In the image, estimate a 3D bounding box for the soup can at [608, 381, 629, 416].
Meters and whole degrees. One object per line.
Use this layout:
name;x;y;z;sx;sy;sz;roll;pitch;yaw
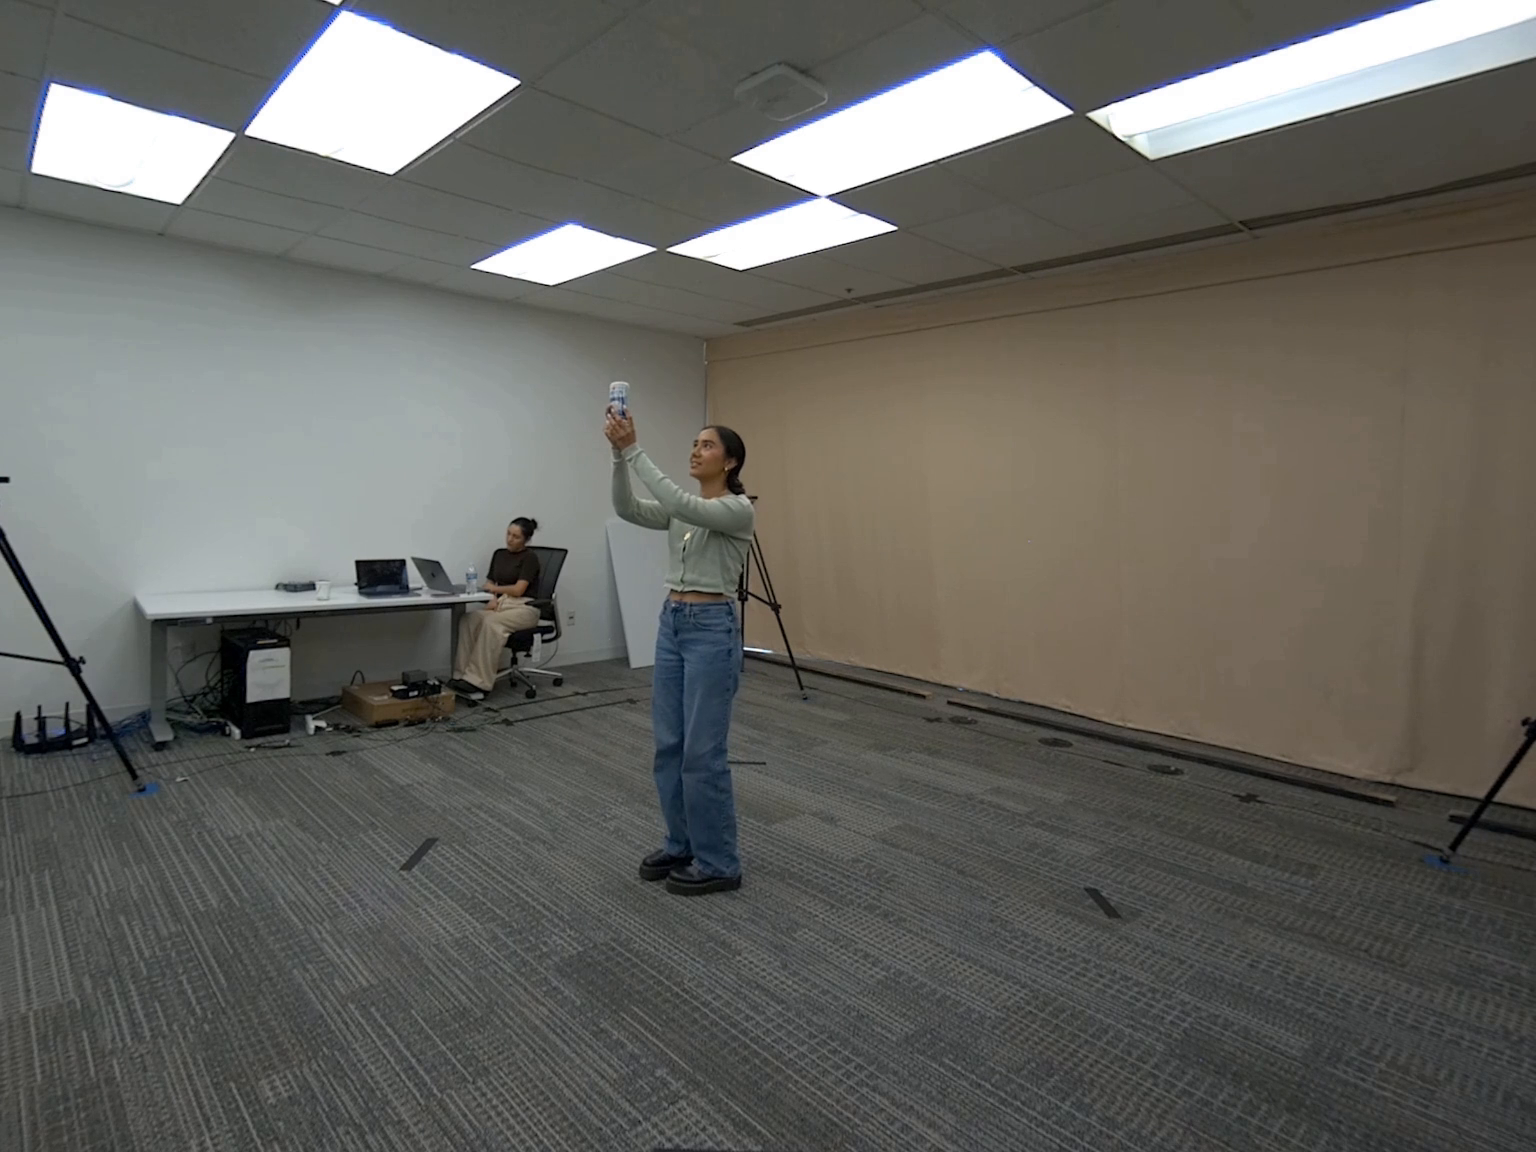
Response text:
soup can;-0.501;-0.587;2.831;0.067;0.121;0.067;-1;1;-1
